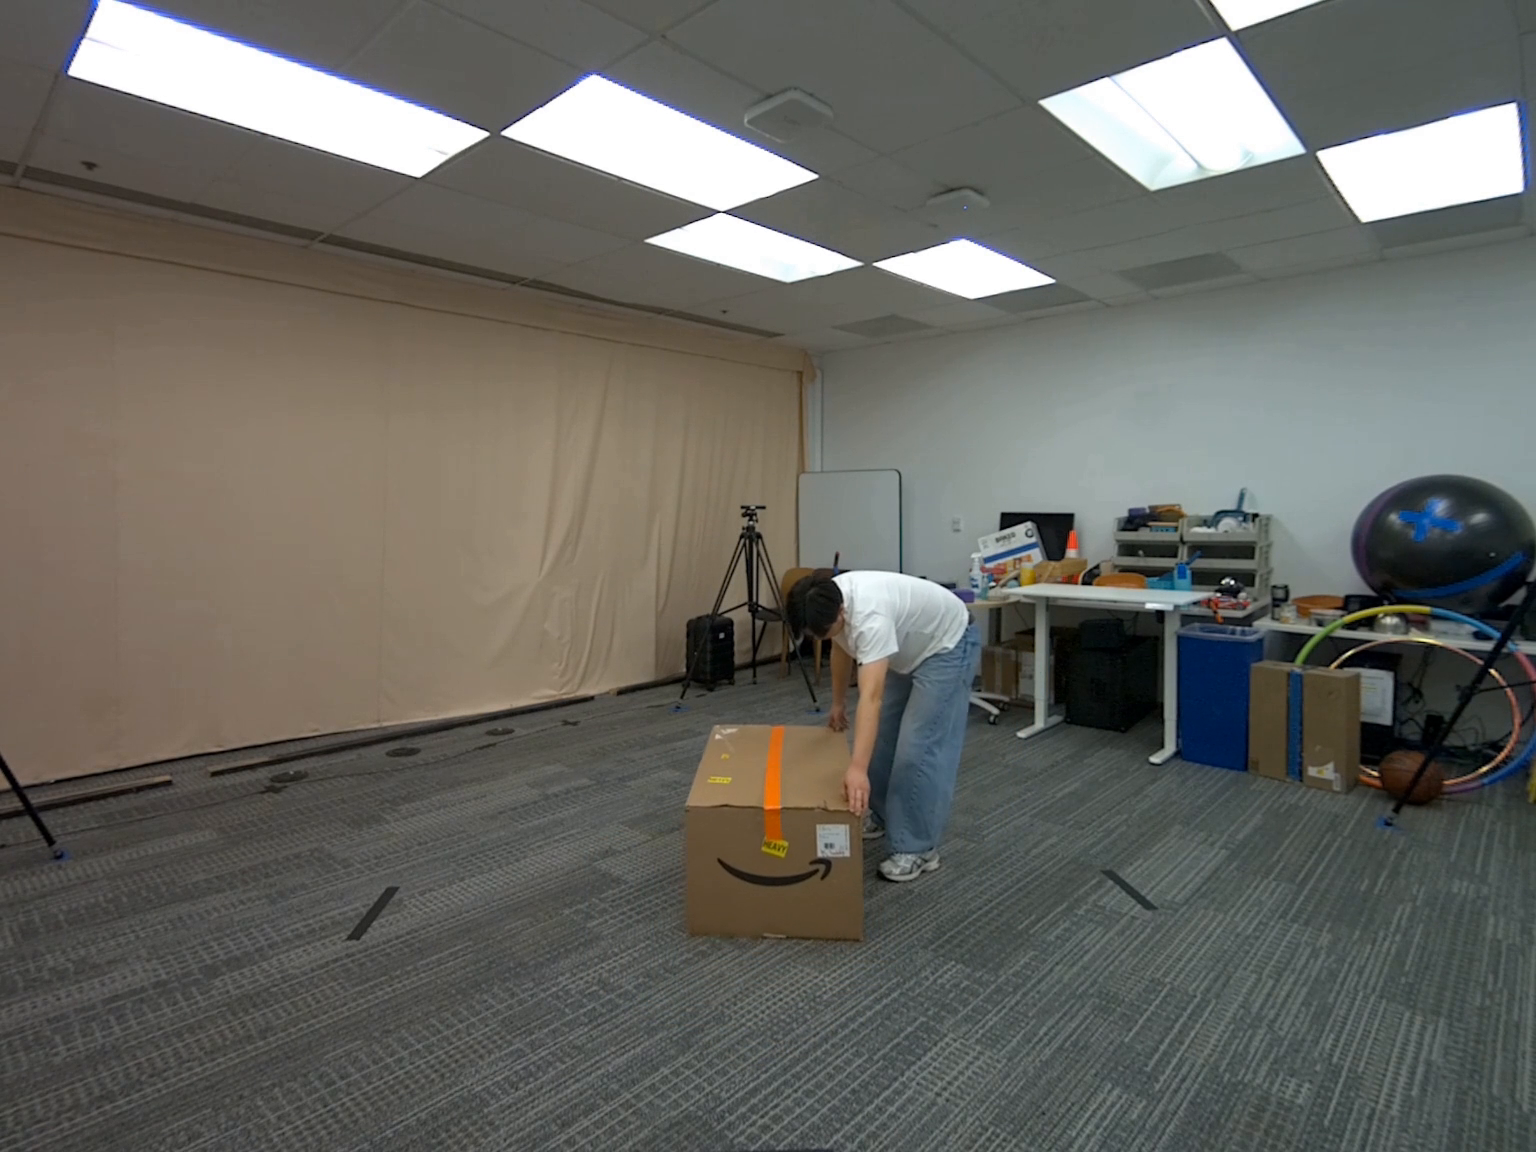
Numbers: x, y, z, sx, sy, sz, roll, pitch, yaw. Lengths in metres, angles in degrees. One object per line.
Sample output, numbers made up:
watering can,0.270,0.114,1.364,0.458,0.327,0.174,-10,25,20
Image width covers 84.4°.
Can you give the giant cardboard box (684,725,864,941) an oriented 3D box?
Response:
giant cardboard box,0.031,0.908,3.211,0.580,0.425,1.024,0,4,2
